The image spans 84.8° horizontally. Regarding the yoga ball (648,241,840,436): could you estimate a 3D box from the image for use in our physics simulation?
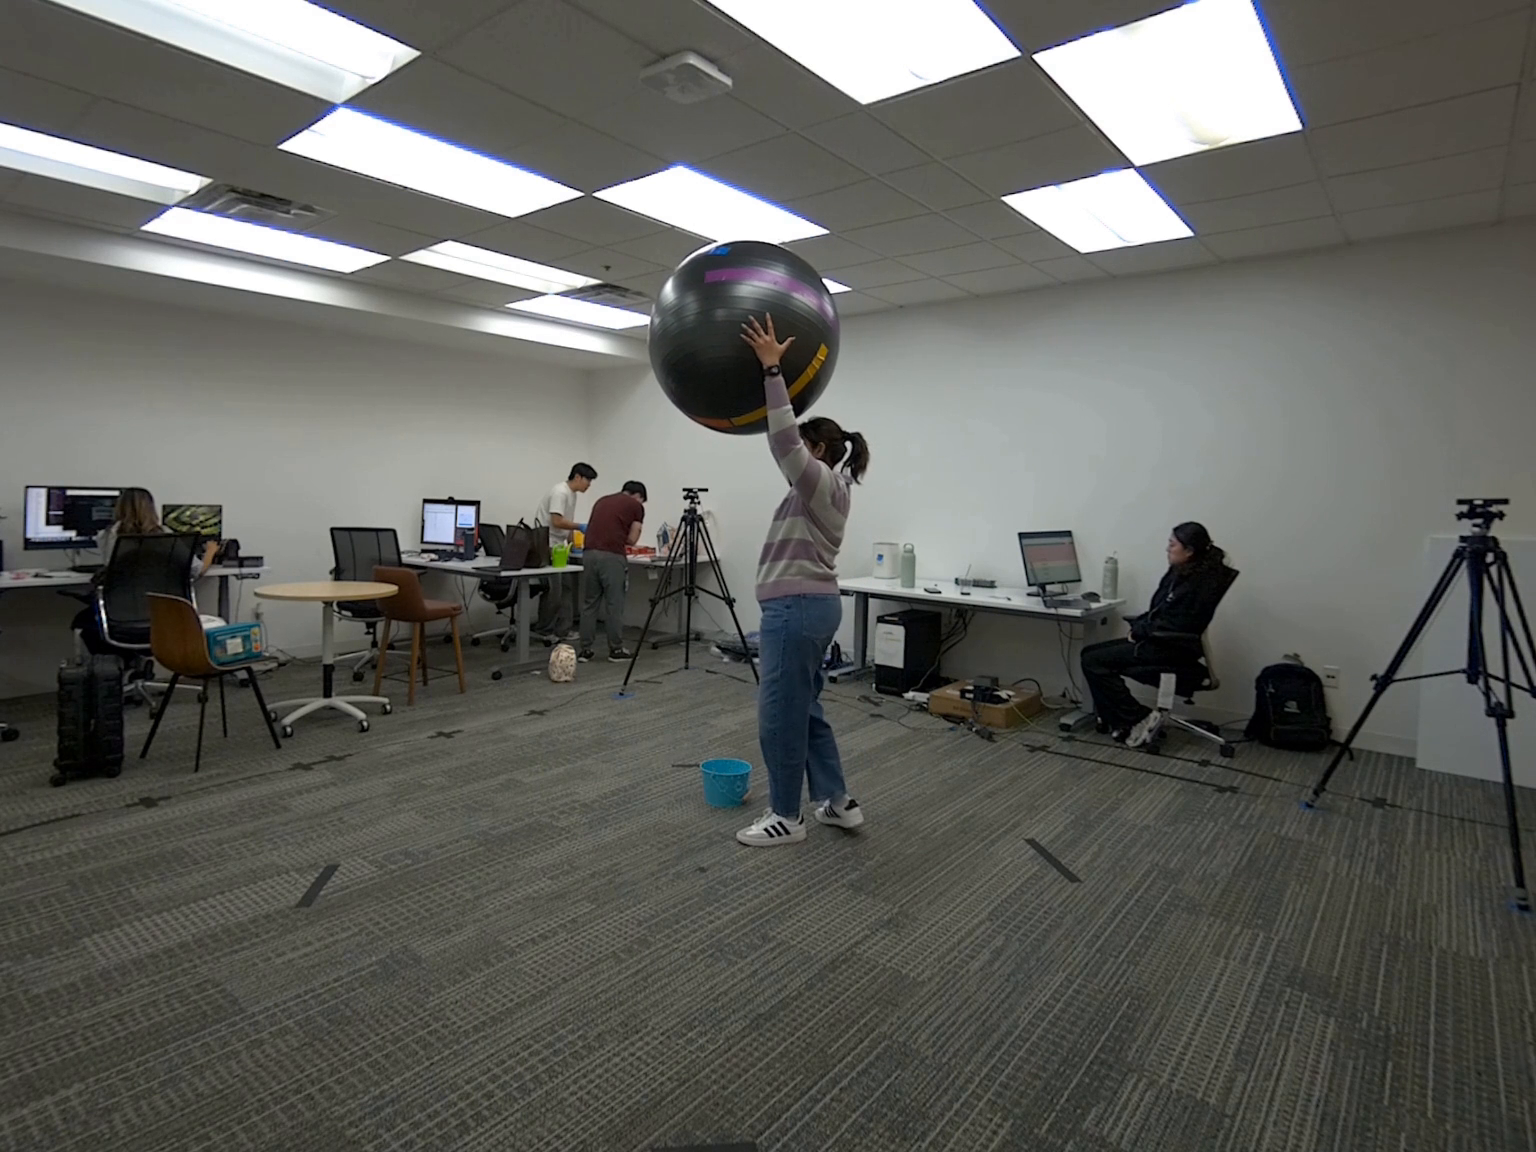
[{"bbox_3d":[-0.106,-0.941,3.376,0.757,0.756,0.761,1,4,-2],"label":"yoga ball"}]
